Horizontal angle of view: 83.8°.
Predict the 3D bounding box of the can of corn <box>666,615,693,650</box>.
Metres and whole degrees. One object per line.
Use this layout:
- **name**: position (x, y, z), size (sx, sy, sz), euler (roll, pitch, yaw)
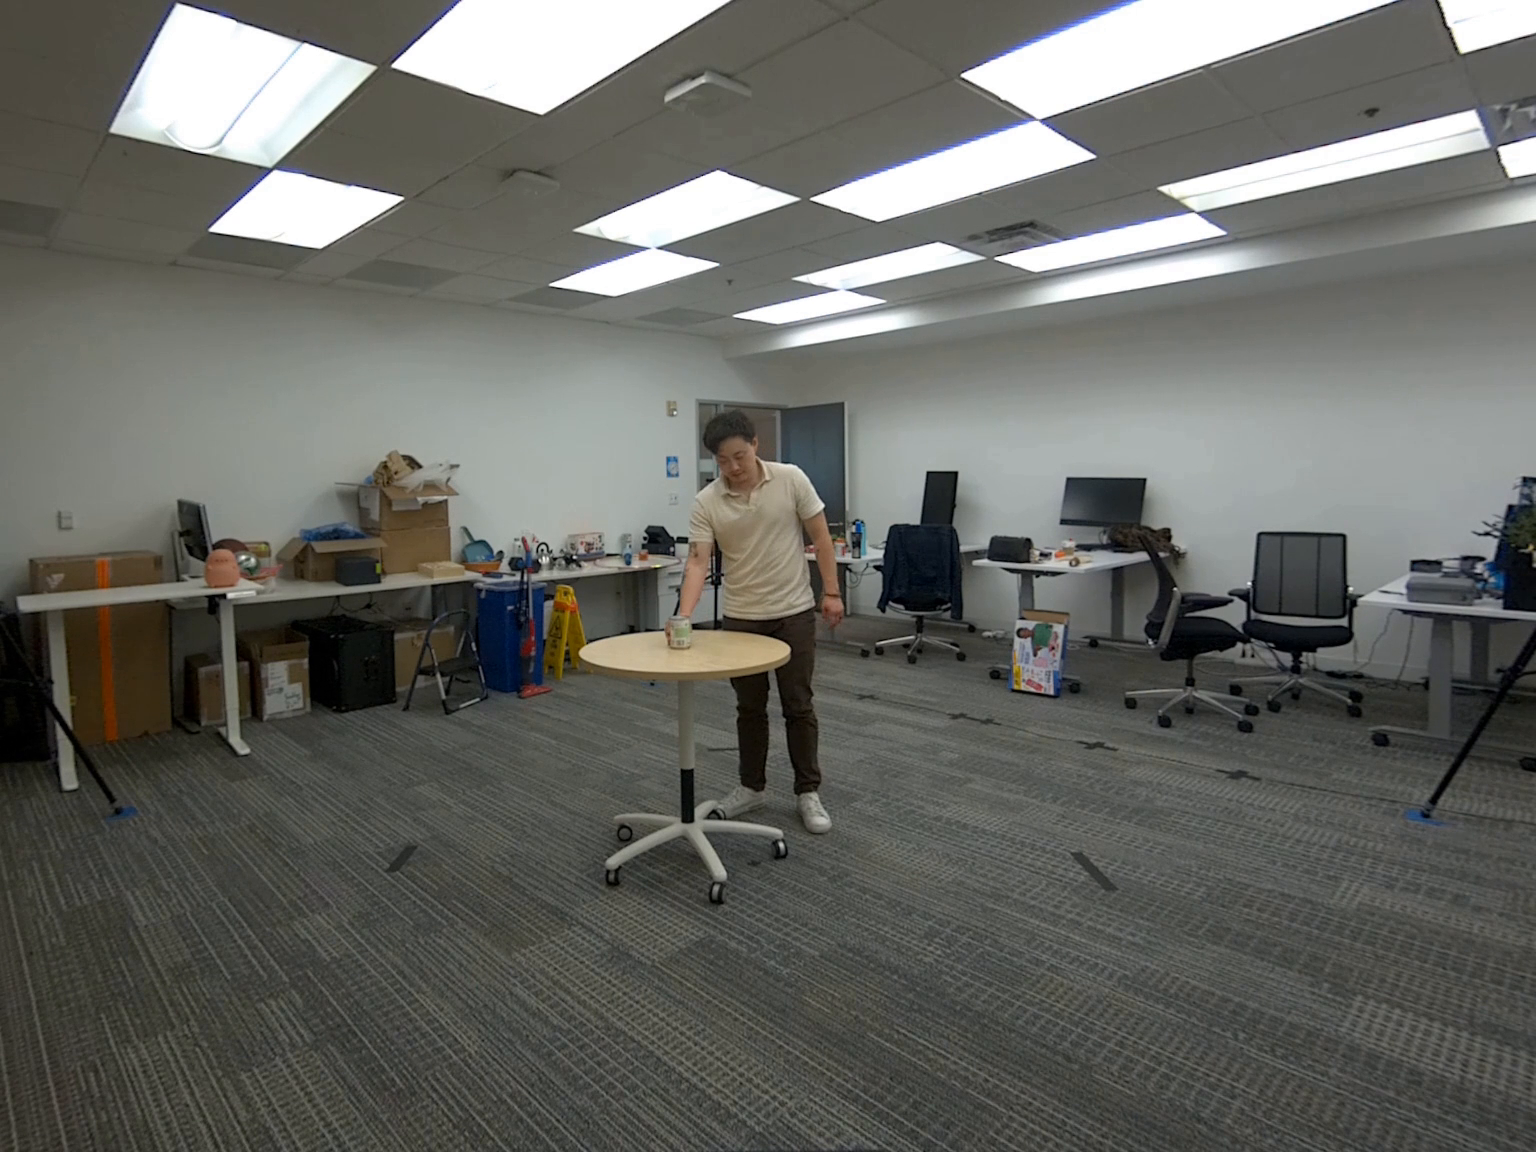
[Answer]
- **can of corn**: position (-0.321, 0.206, 3.125), size (0.074, 0.111, 0.074), euler (-1, 4, -2)
